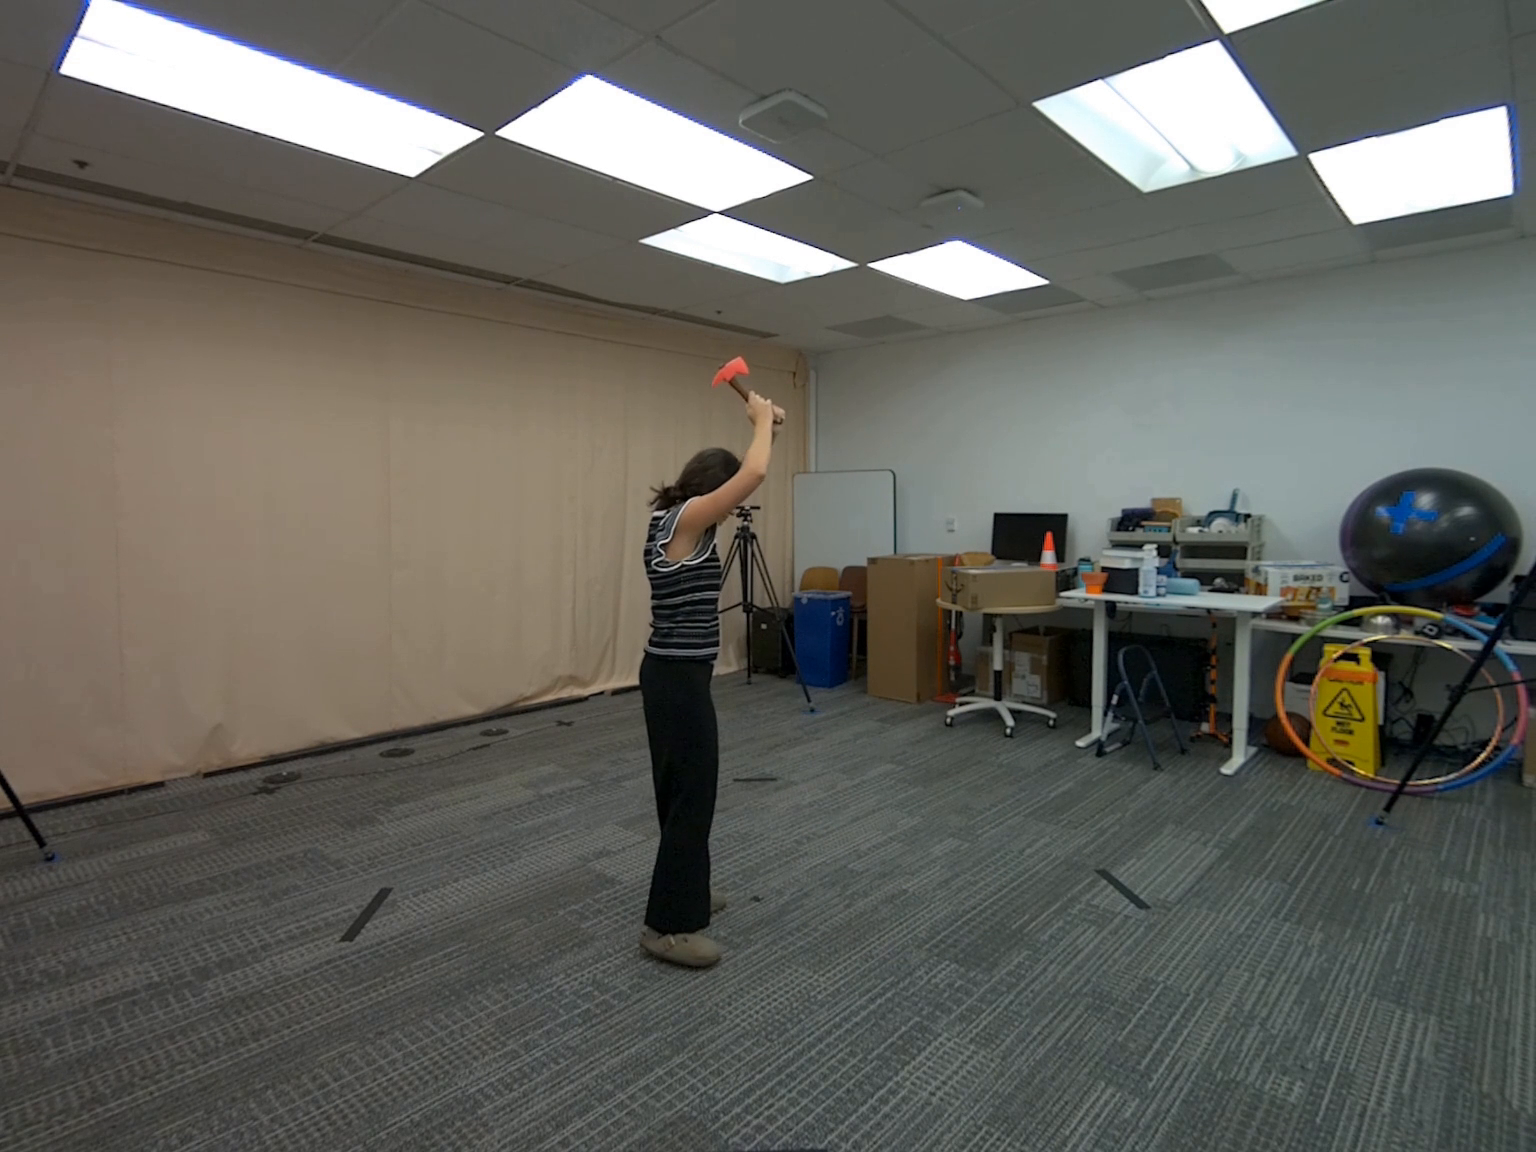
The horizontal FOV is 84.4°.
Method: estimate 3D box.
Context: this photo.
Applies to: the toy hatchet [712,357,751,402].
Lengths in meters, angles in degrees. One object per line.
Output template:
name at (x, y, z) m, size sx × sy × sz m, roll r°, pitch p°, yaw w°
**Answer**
toy hatchet at (-0.040, -0.604, 2.704) m, size 0.264 × 0.131 × 0.030 m, roll 28°, pitch -7°, yaw -18°
